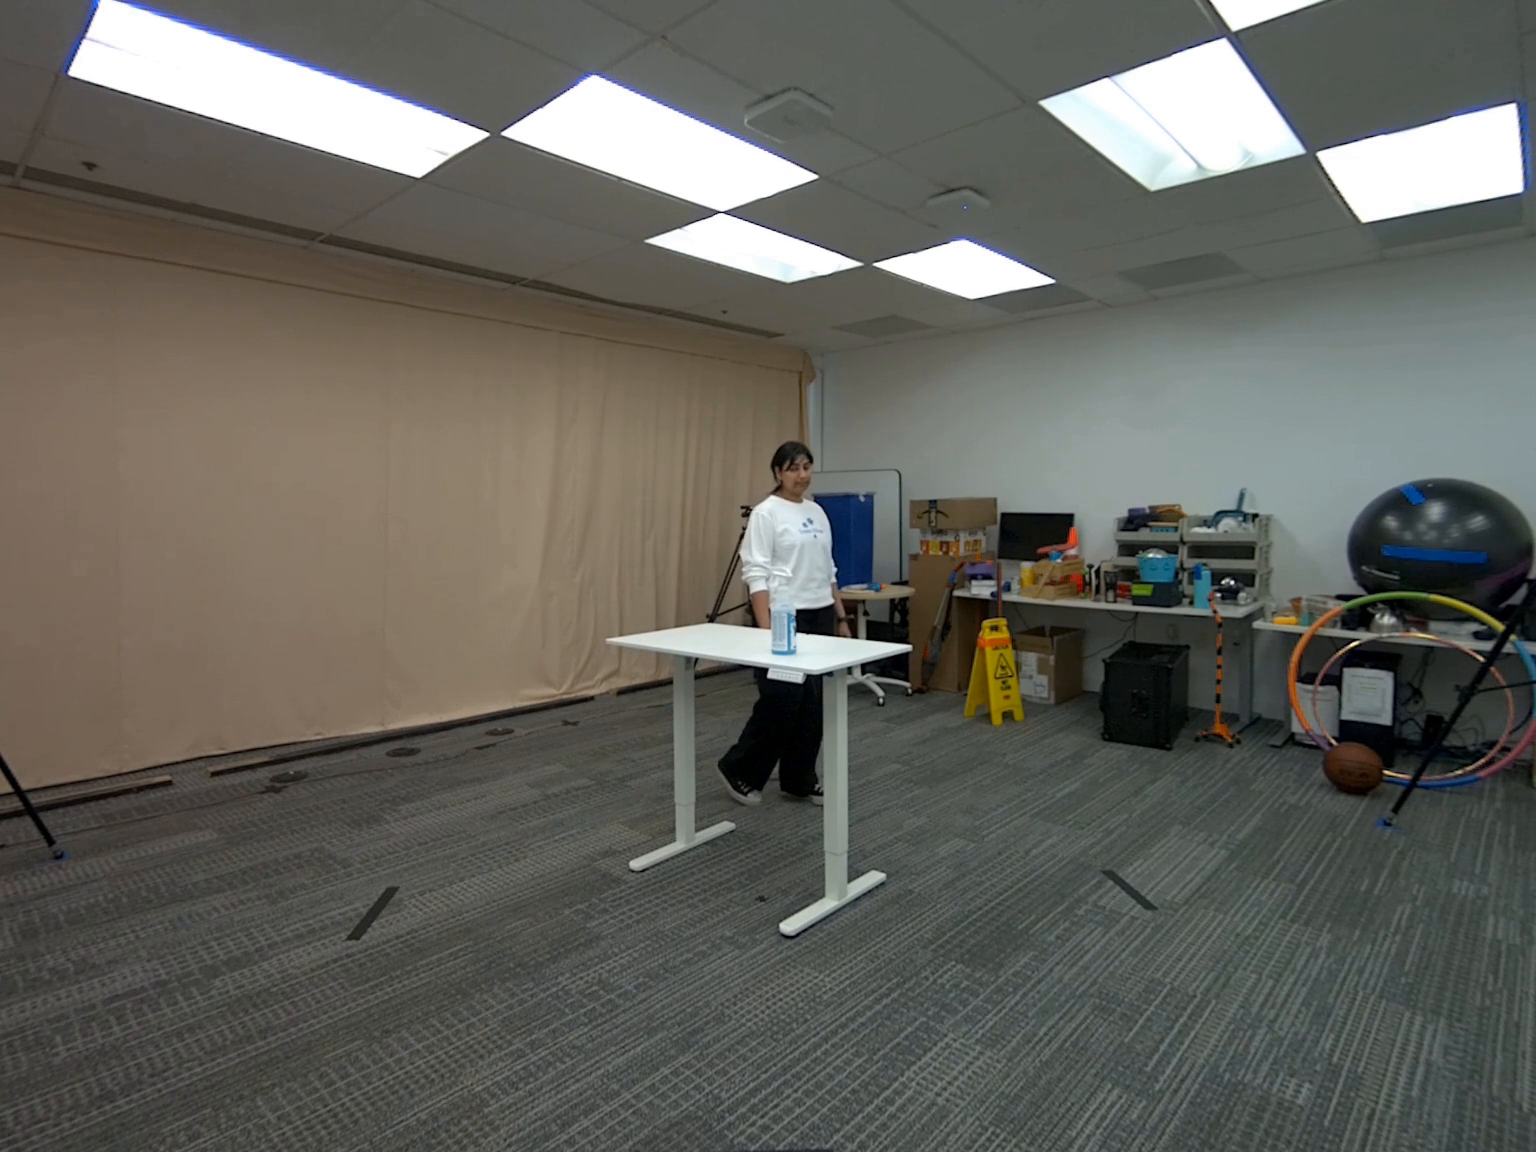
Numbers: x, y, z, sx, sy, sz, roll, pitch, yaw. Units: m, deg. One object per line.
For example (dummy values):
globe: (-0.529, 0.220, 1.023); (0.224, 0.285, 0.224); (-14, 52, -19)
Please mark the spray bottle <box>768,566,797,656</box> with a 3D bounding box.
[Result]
spray bottle: (0.046, 0.120, 2.896); (0.085, 0.297, 0.092); (-2, 0, -22)
